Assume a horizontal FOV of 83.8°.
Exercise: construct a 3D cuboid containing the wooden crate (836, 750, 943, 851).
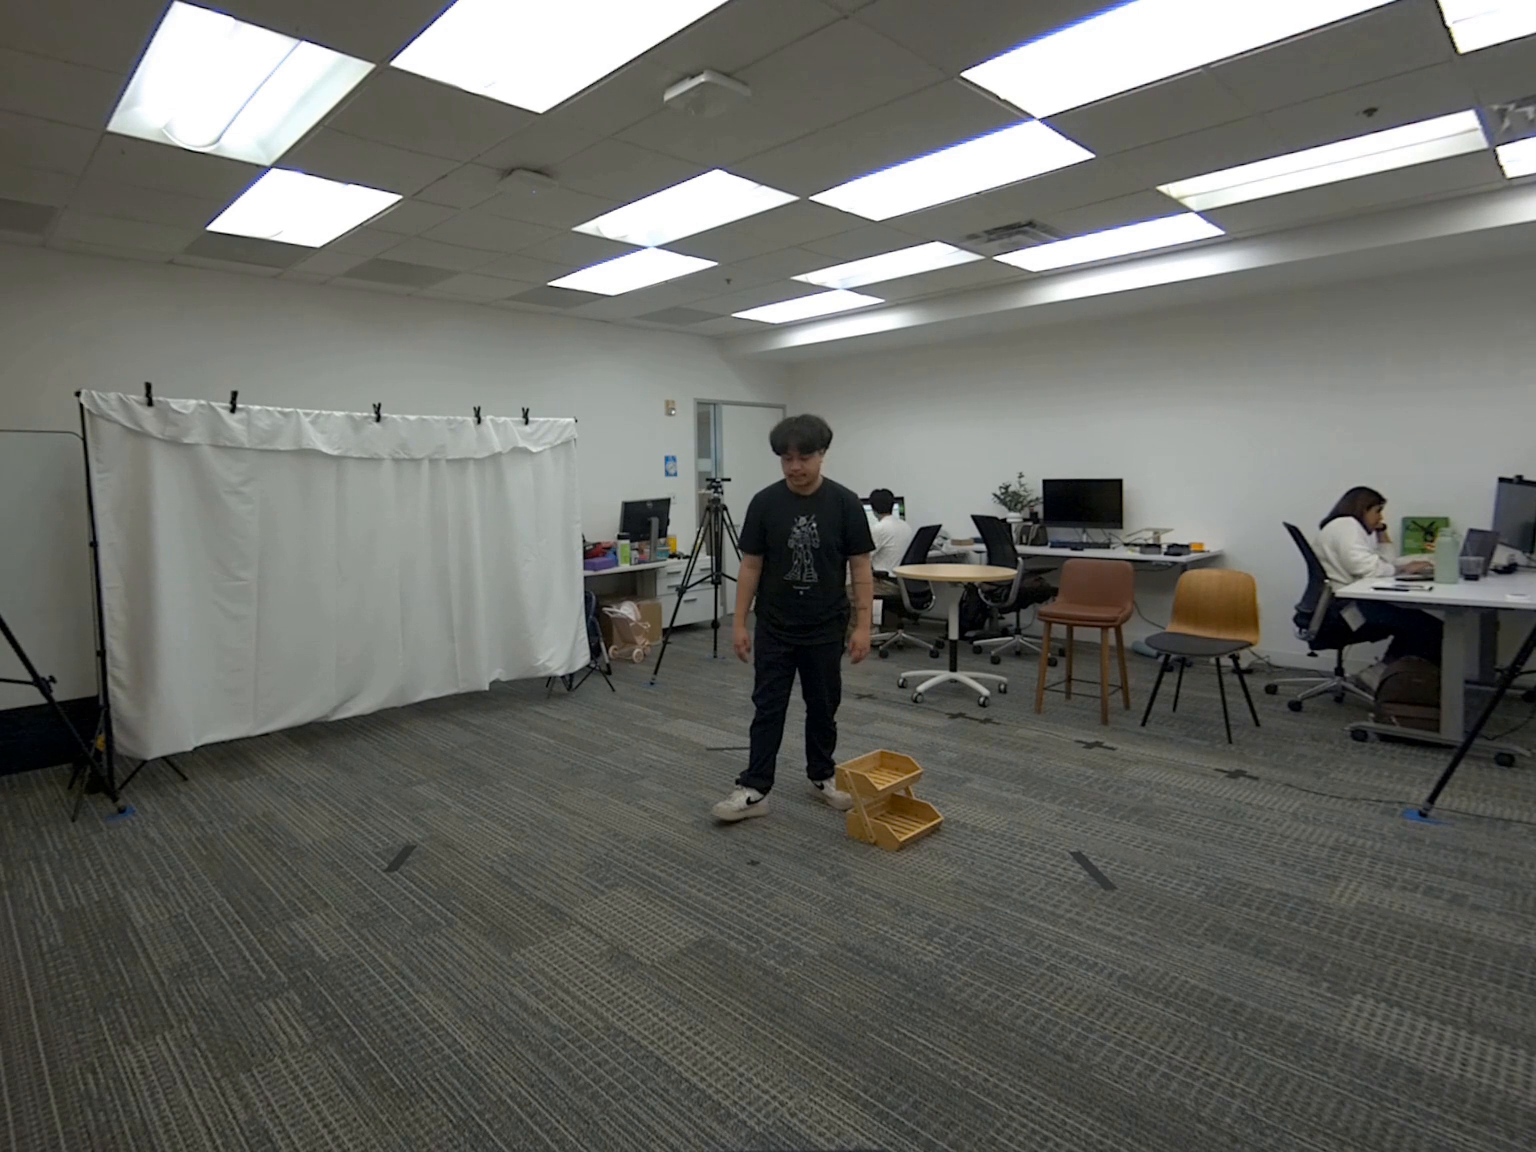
[{"bbox_3d":[0.477,0.864,3.360,0.311,0.272,0.316,3,6,44],"label":"wooden crate"}]
